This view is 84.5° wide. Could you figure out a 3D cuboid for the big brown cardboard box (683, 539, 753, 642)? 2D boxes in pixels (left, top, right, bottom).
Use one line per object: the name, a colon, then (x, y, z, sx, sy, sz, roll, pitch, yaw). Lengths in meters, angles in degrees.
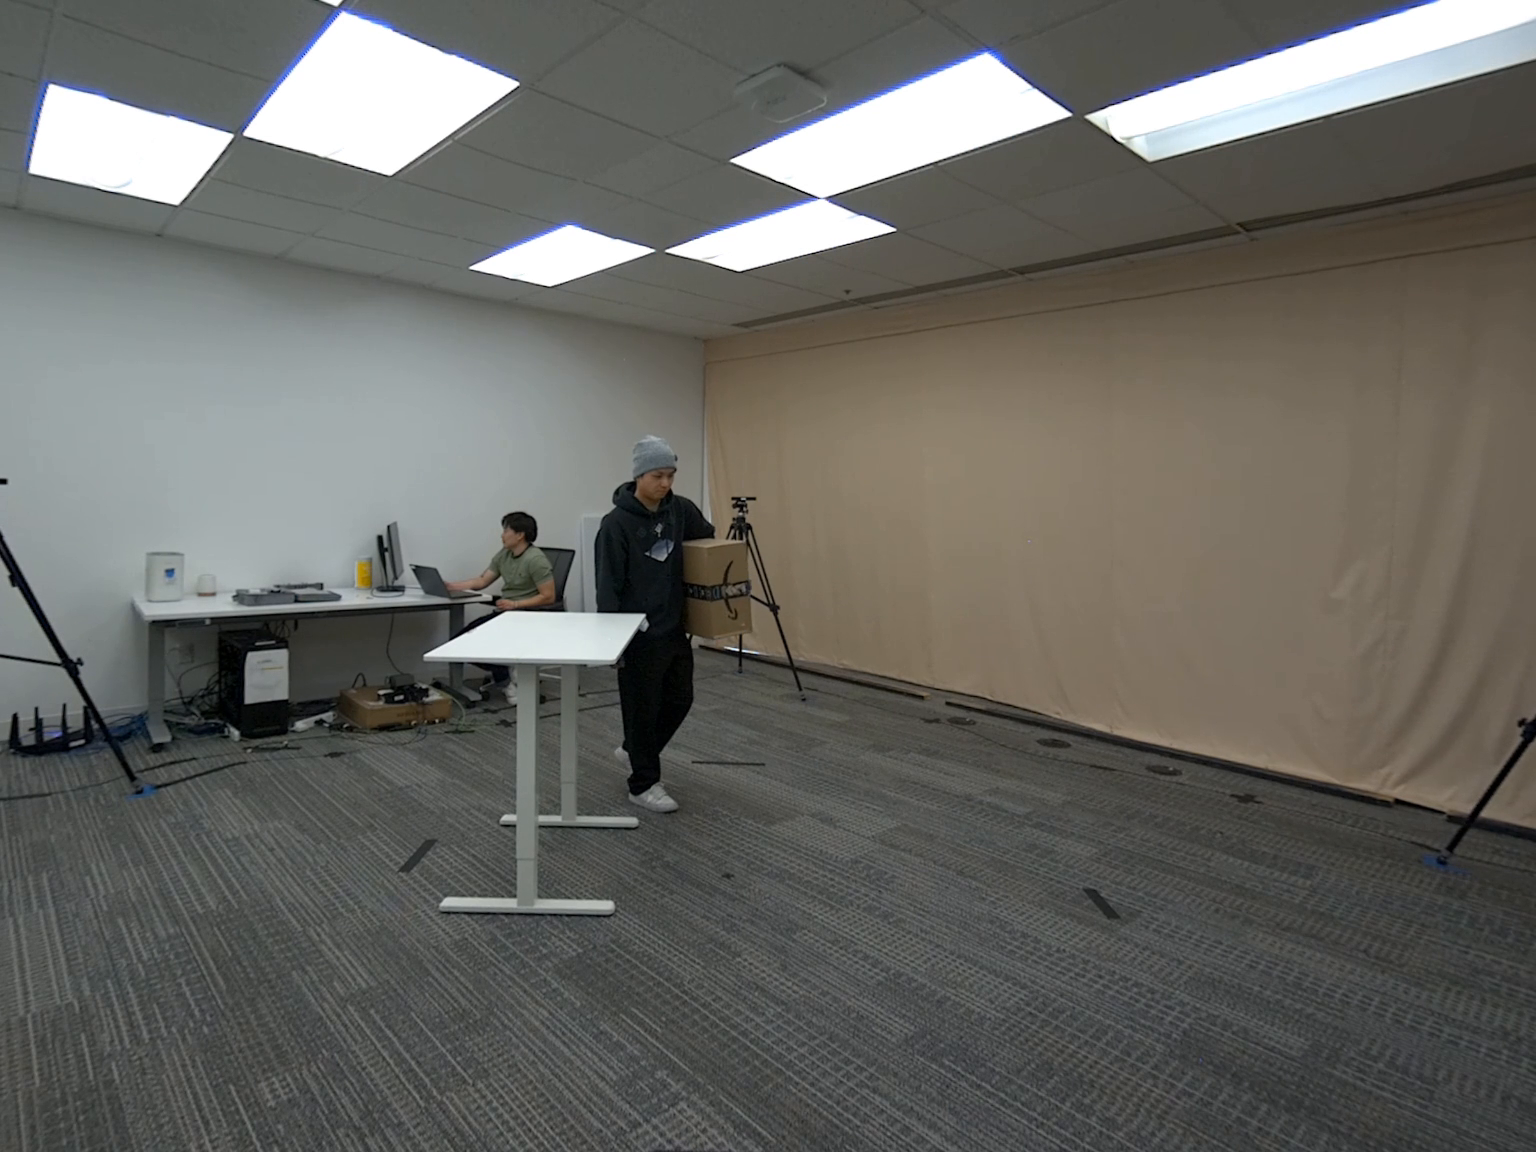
big brown cardboard box: (-0.326, 0.044, 3.957, 0.229, 0.415, 0.603, -7, 8, -33)
